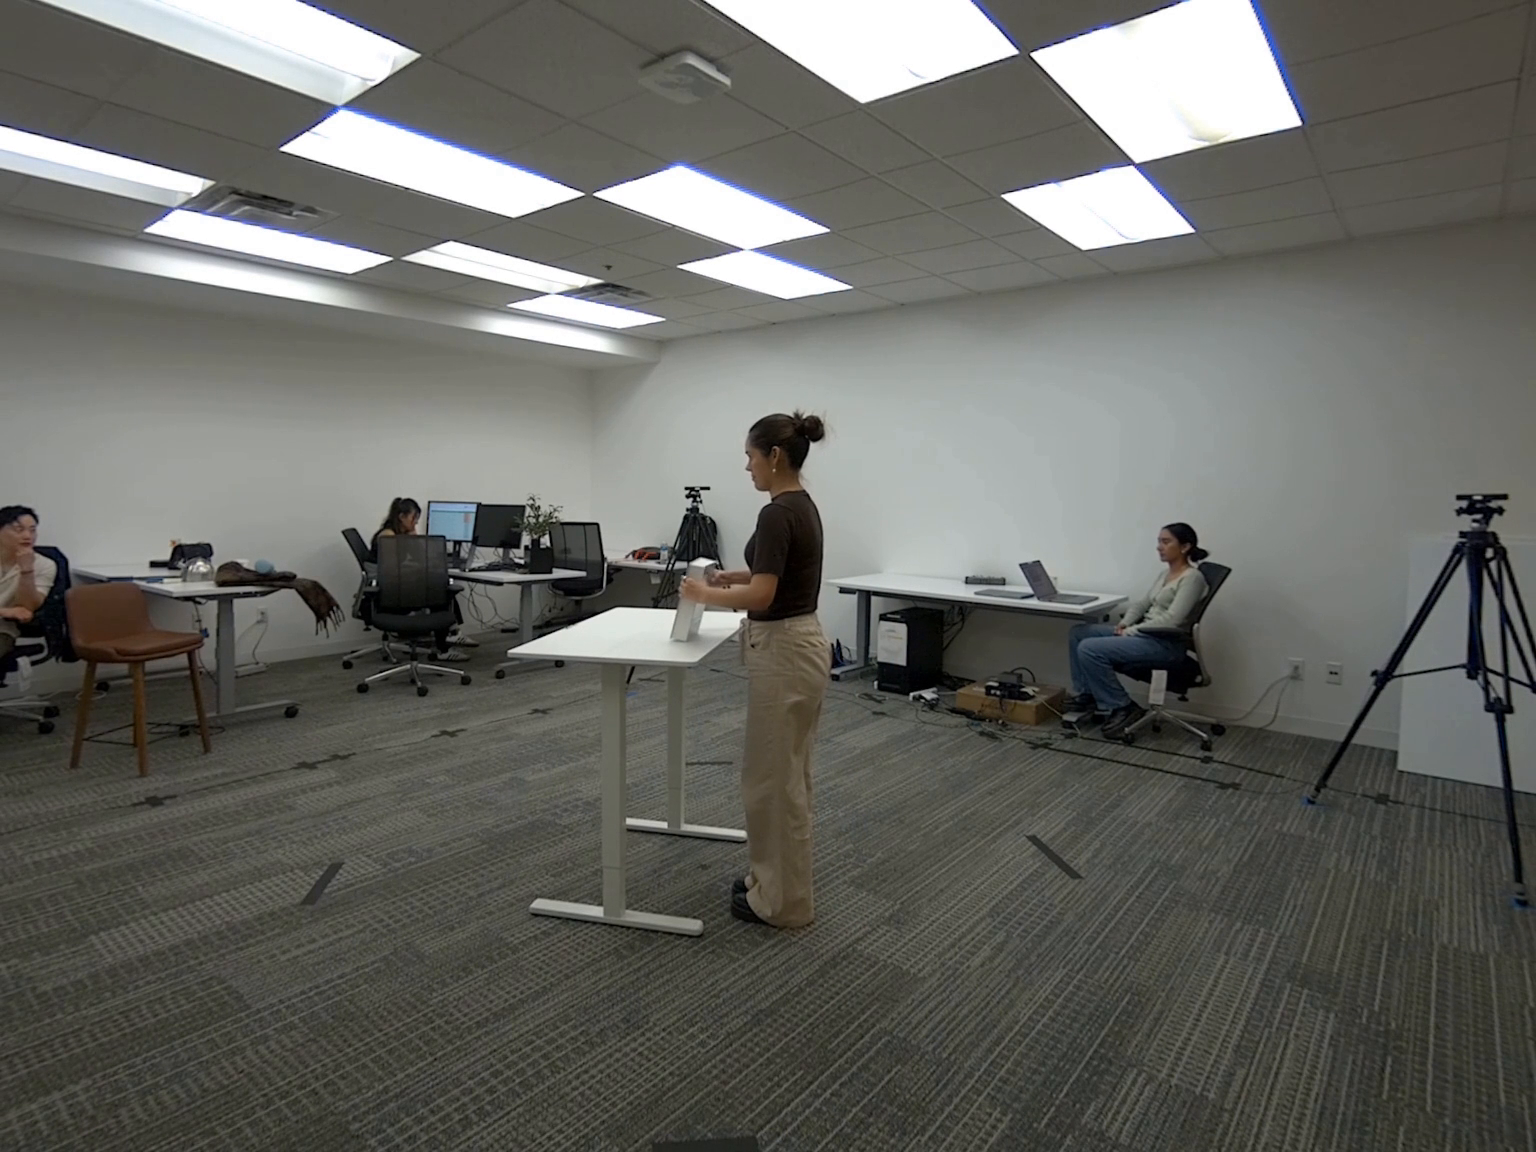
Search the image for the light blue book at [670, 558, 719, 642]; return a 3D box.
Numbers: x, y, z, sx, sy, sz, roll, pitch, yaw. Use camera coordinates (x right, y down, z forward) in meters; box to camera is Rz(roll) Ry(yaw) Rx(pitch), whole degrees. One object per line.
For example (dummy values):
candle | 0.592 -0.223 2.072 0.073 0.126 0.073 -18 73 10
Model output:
light blue book | -0.258 0.077 2.859 0.059 0.260 0.190 13 7 5
